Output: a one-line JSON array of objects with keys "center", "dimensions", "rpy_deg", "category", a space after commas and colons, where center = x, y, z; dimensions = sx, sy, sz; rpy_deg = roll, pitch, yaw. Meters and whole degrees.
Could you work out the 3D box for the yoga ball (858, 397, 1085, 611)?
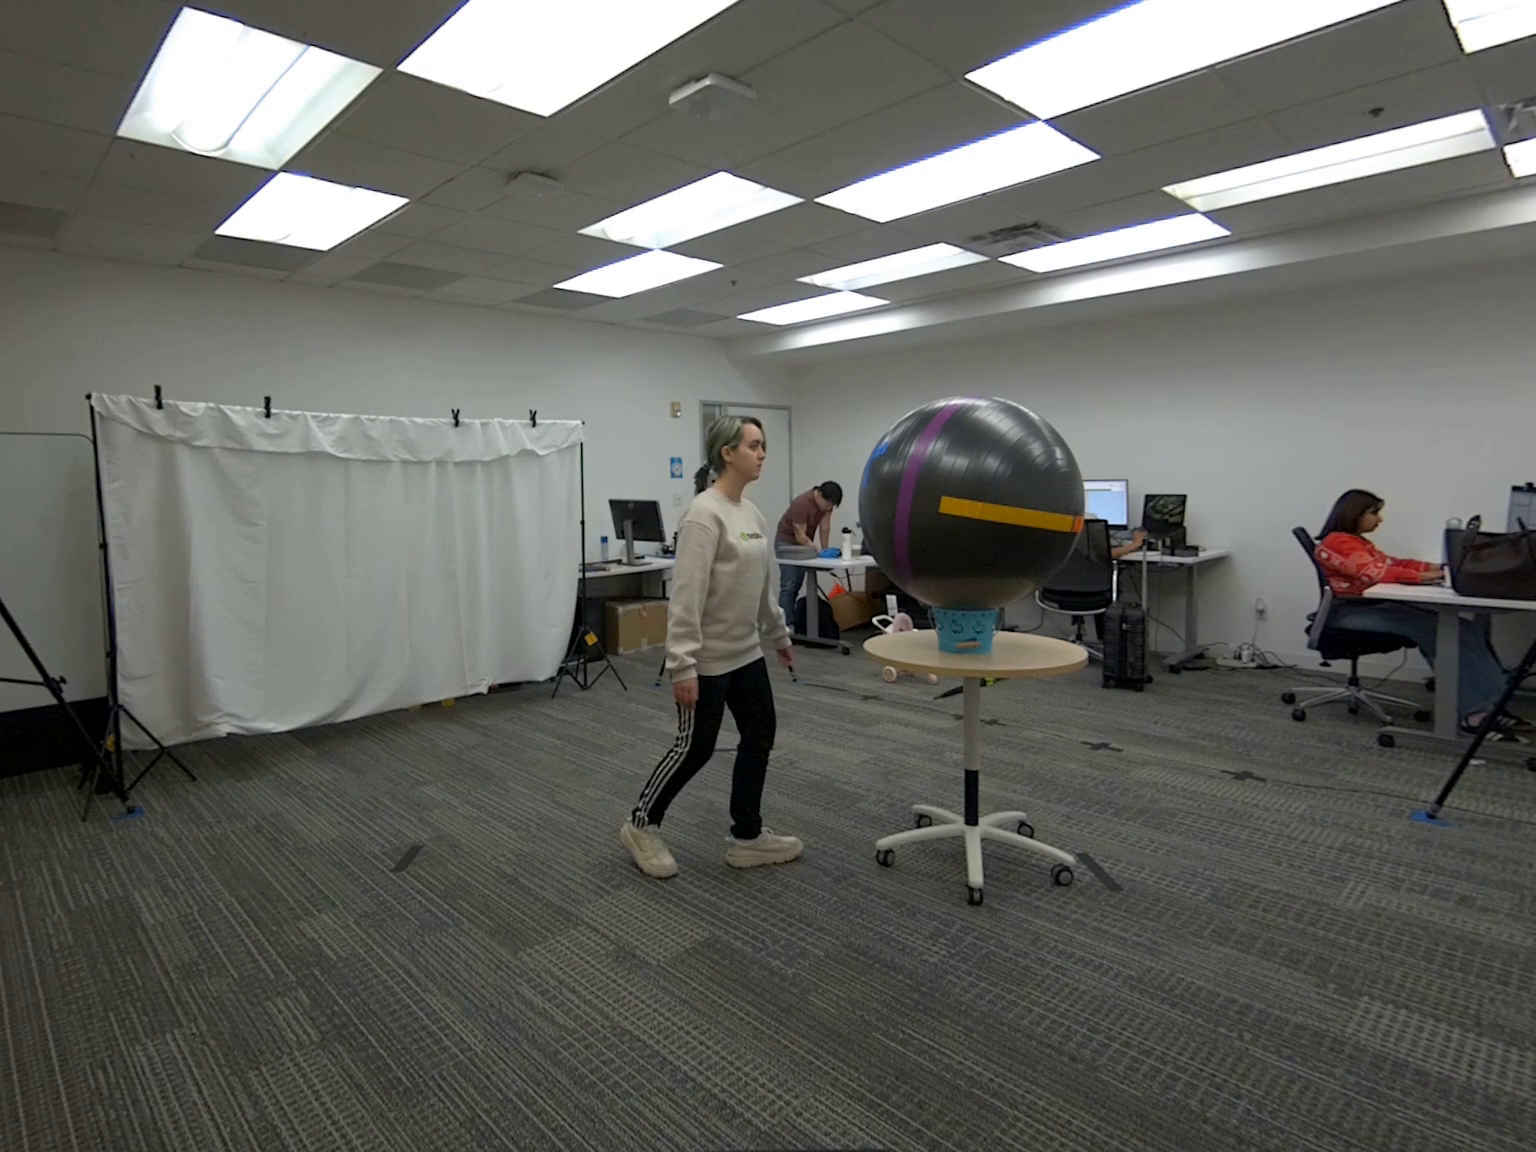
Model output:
[{"center": [0.713, -0.248, 2.988], "dimensions": [0.757, 0.755, 0.762], "rpy_deg": [-1, 5, -2], "category": "yoga ball"}]
